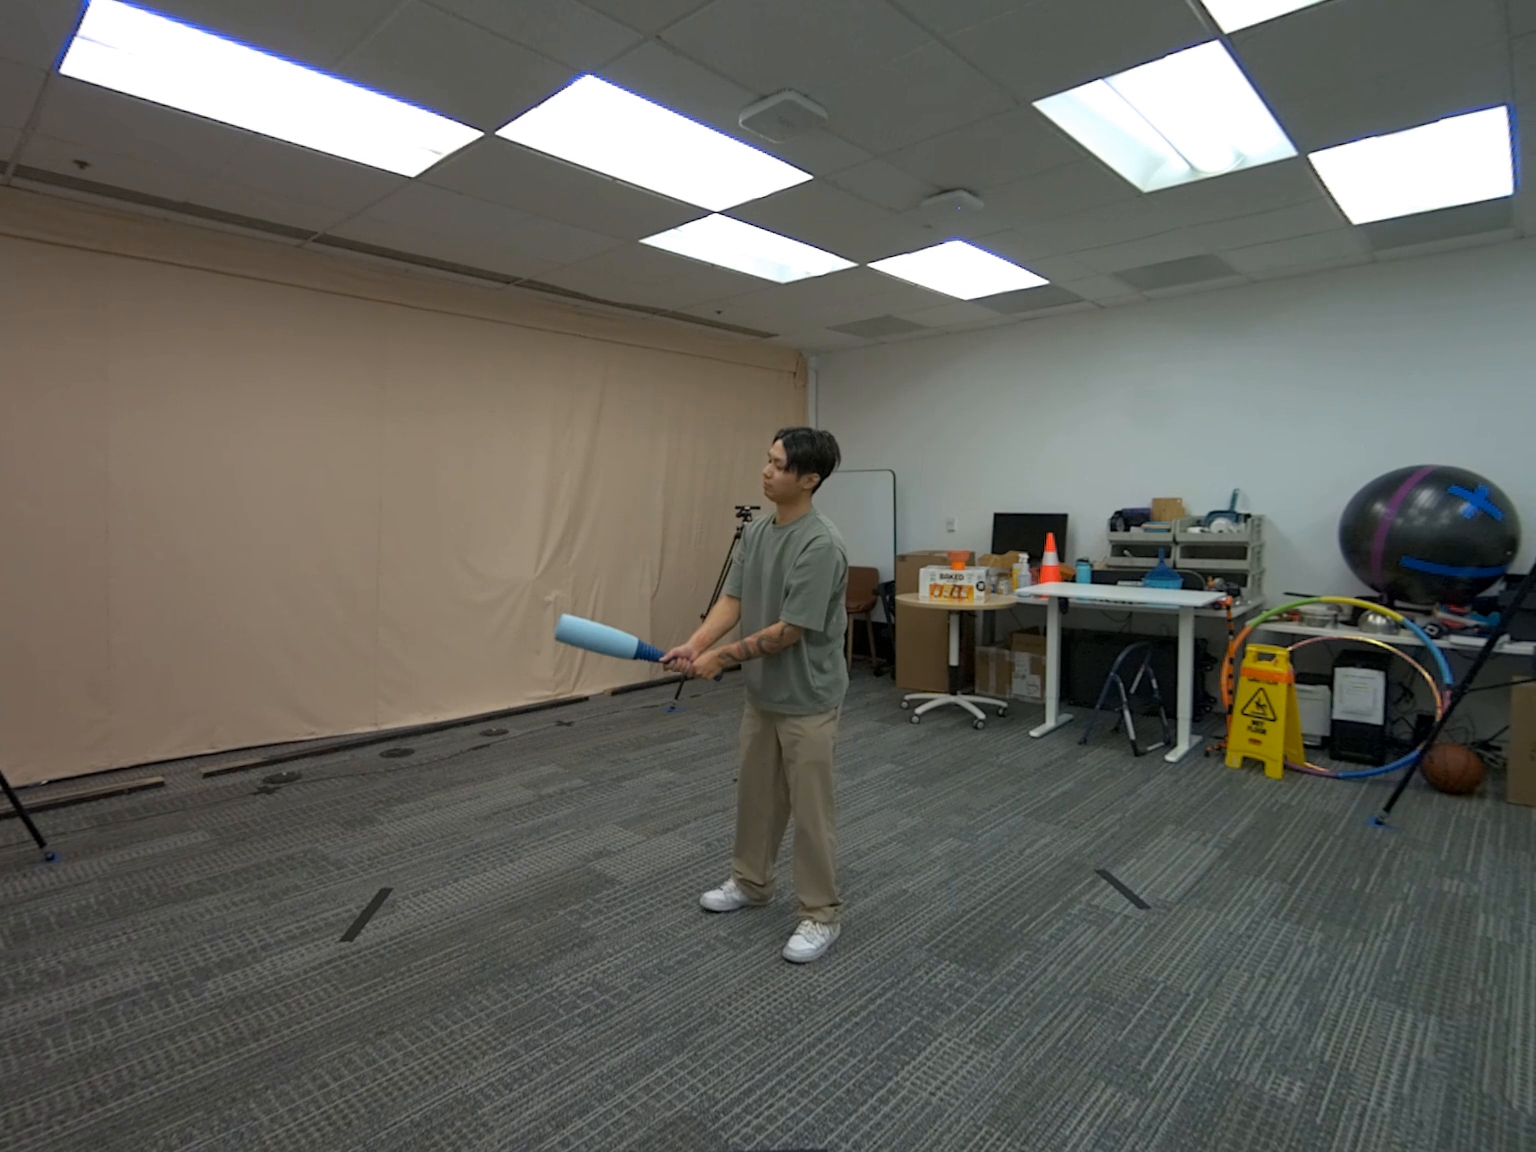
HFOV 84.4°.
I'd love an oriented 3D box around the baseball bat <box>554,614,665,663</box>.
[{"bbox_3d":[-0.389,0.251,2.605,0.536,0.089,0.090,19,0,-11],"label":"baseball bat"}]
